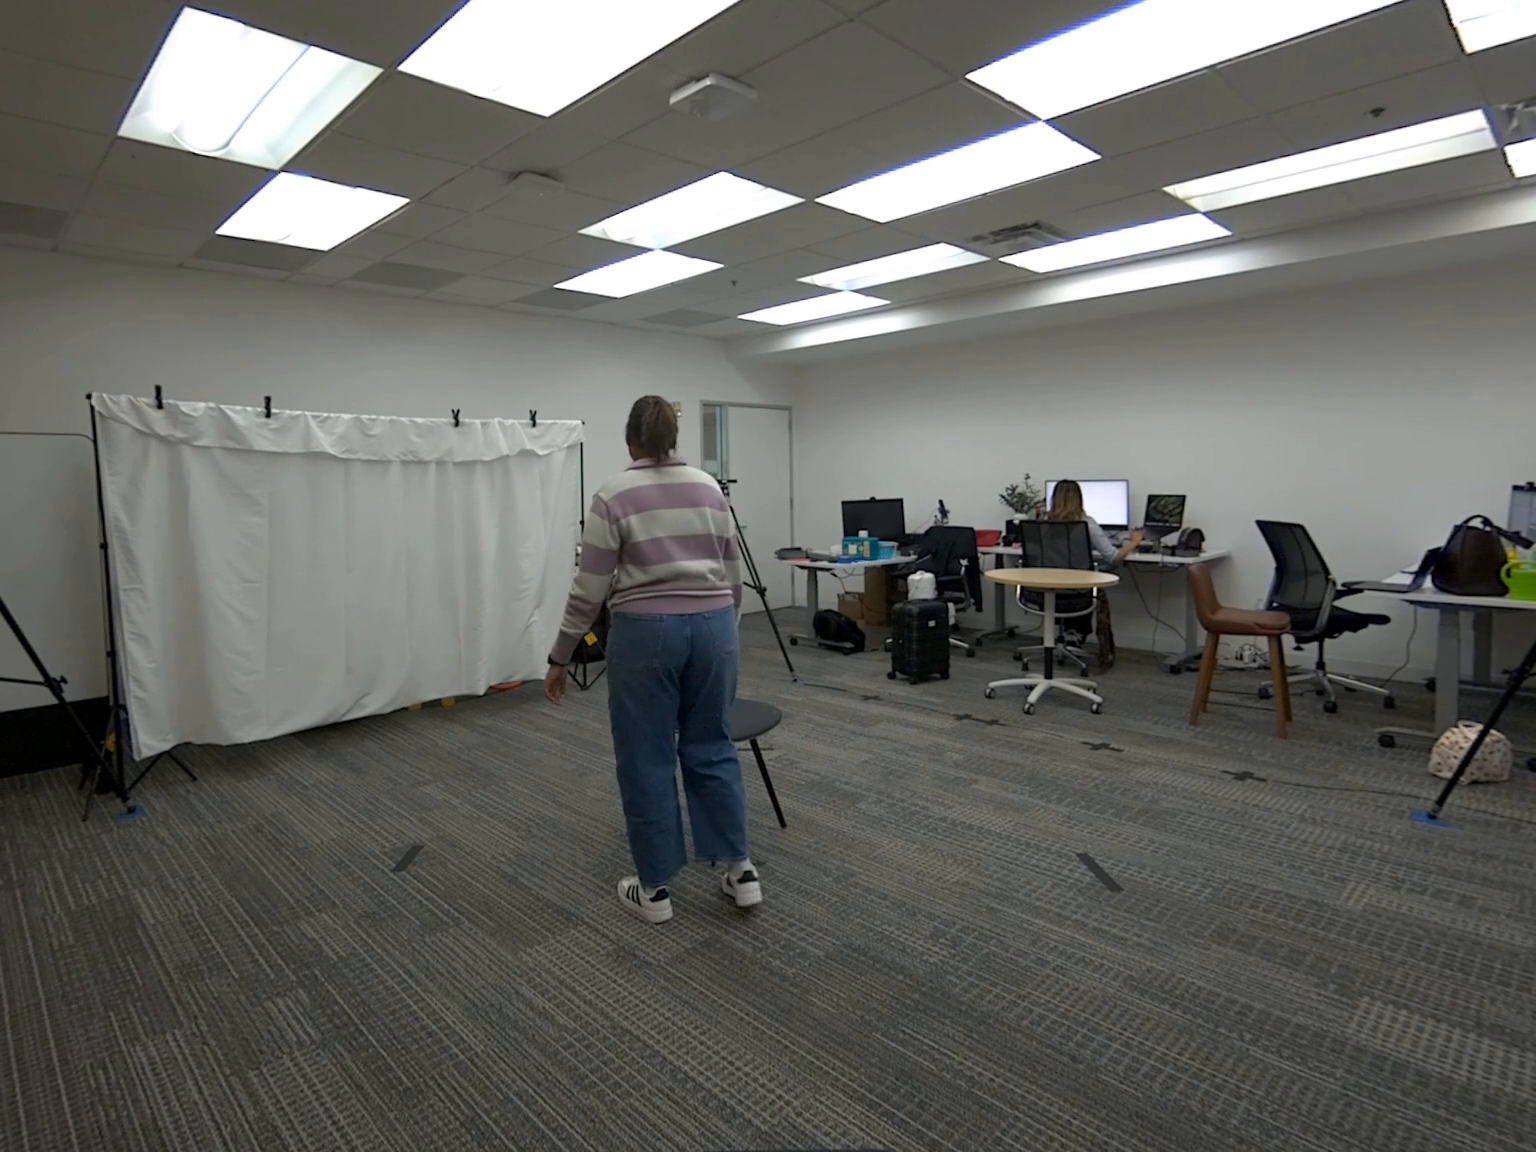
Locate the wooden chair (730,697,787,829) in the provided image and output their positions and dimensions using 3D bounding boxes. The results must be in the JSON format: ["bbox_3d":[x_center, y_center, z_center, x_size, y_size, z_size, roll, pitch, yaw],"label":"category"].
[{"bbox_3d":[-0.236,0.593,3.368,0.537,0.877,0.465,-3,1,39],"label":"wooden chair"}]
